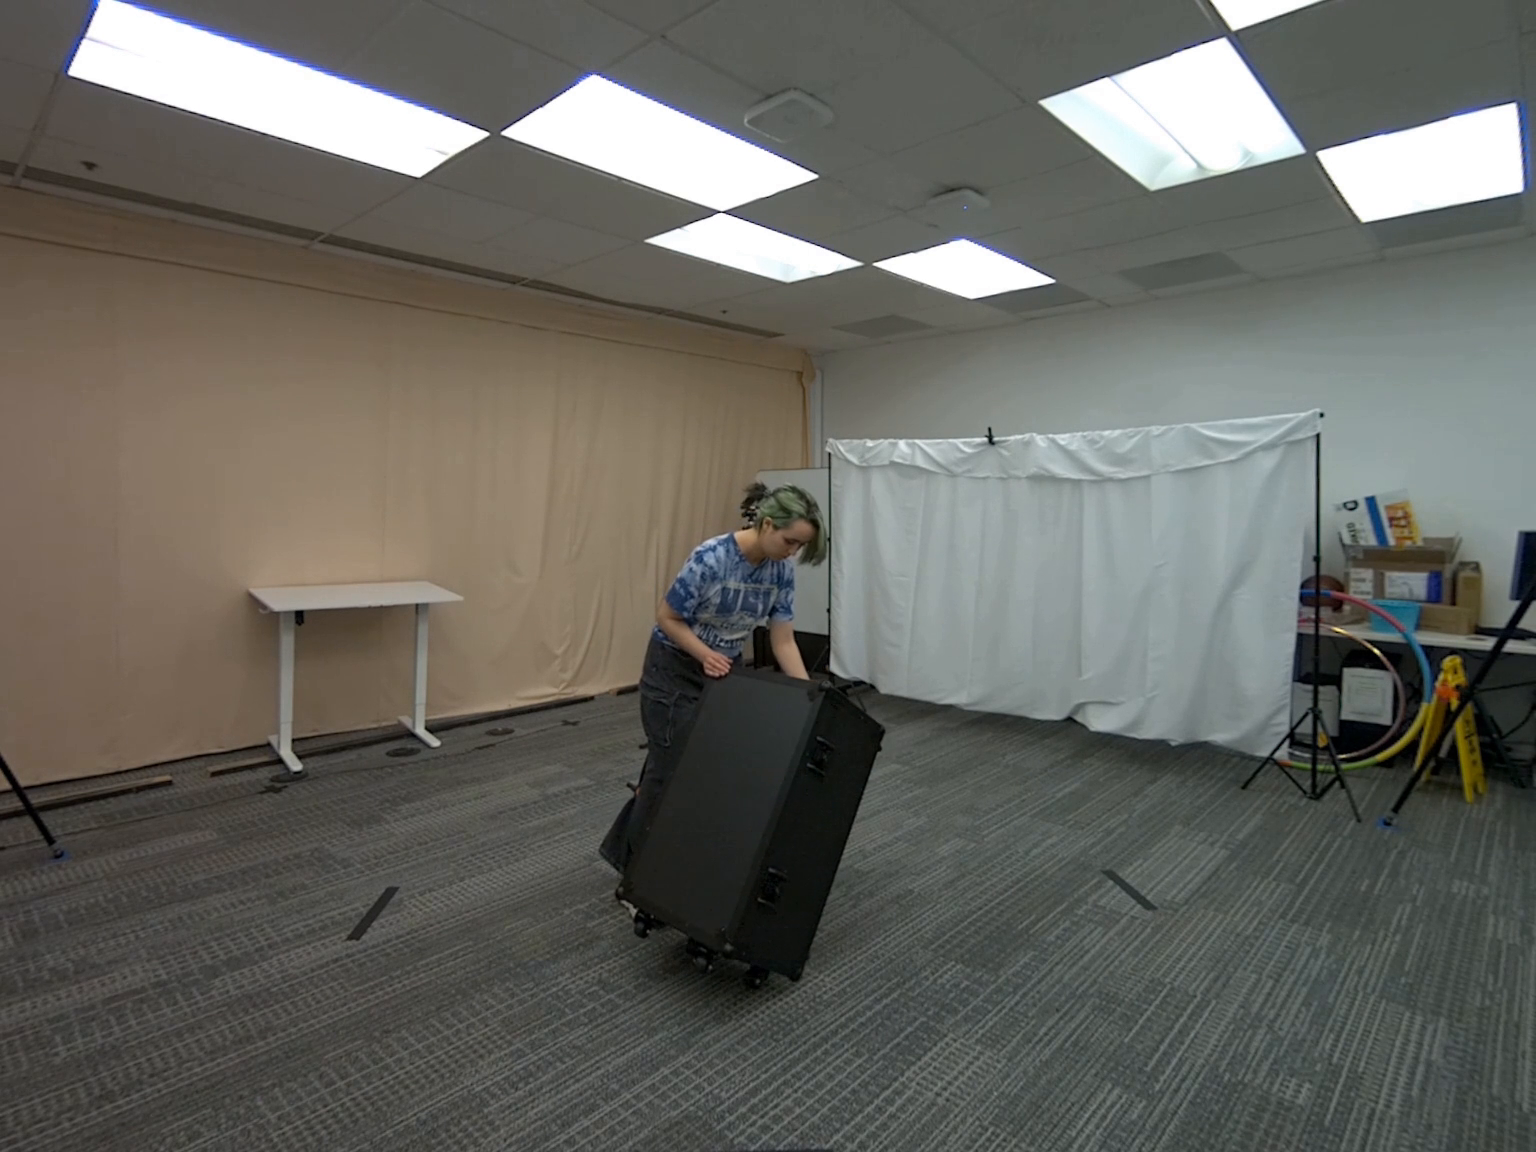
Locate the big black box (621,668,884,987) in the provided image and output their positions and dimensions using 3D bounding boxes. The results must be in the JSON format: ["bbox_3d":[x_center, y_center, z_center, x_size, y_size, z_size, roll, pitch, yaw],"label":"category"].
[{"bbox_3d":[-0.042,0.759,2.598,0.539,0.863,0.382,4,-27,44],"label":"big black box"}]
